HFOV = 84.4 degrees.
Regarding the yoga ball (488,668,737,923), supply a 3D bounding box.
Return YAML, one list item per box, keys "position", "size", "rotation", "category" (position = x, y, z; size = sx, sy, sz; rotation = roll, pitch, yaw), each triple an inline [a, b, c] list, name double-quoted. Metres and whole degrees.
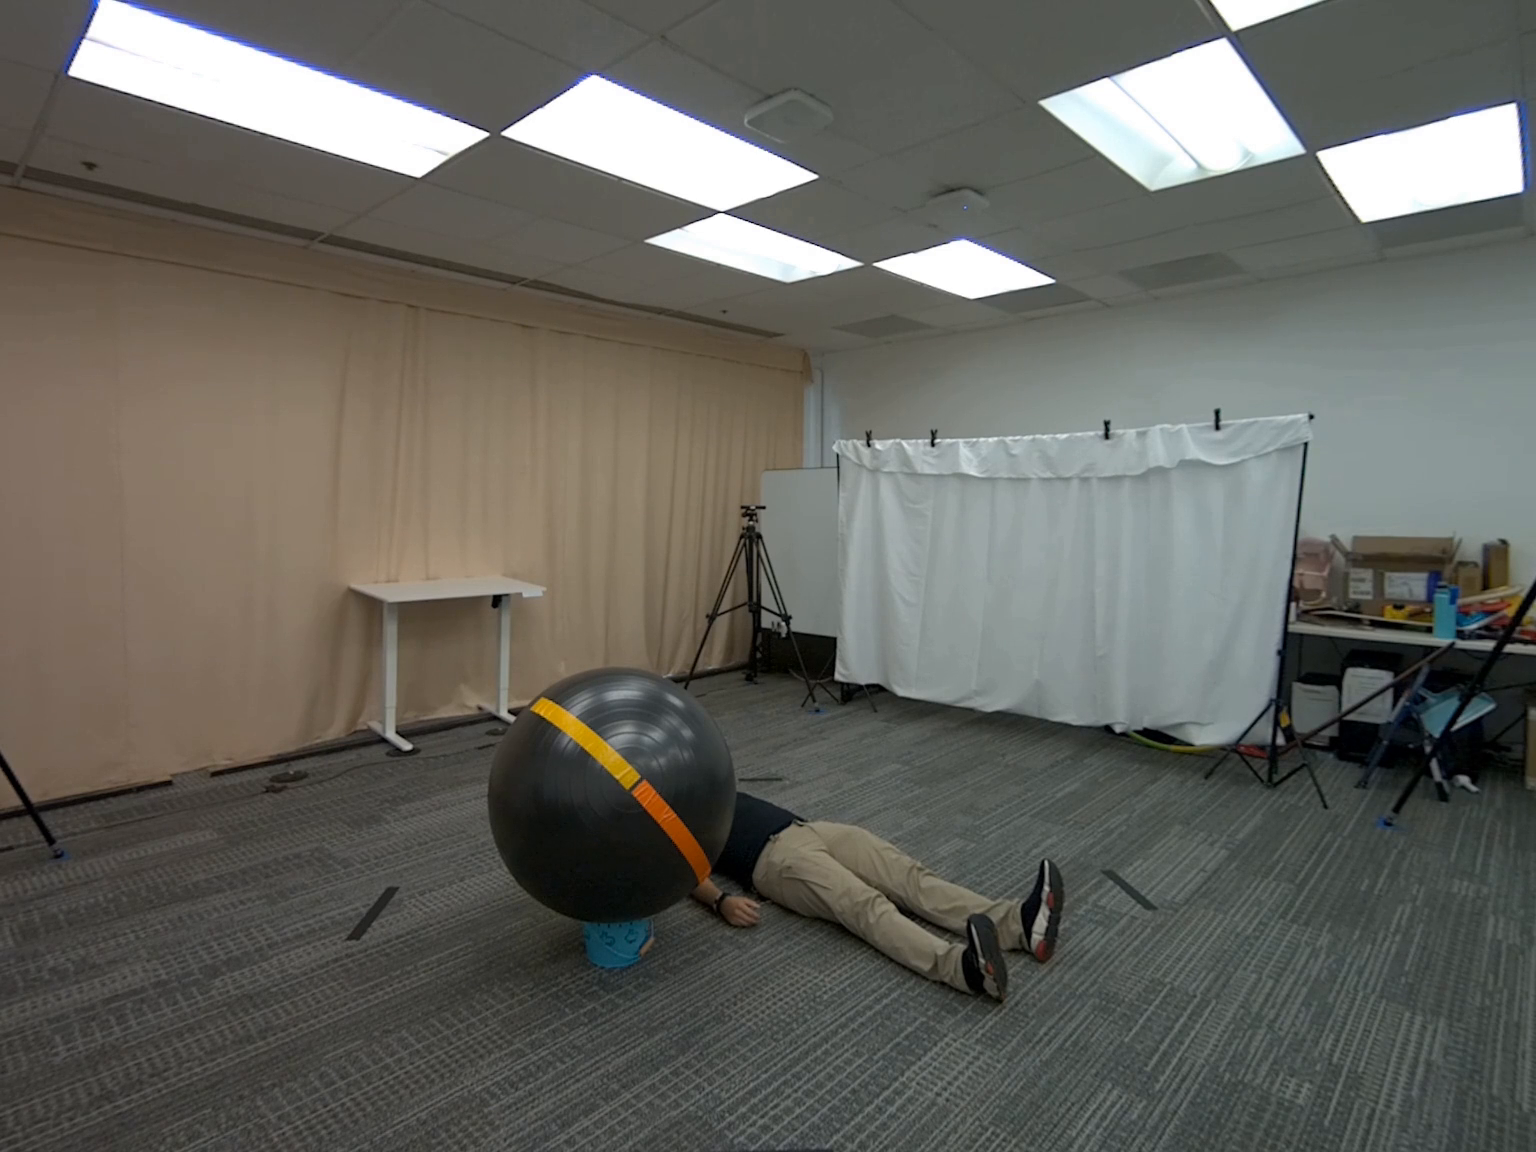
- position: [-0.475, 0.667, 2.611]
  size: [0.757, 0.756, 0.761]
  rotation: [0, 4, -2]
  category: "yoga ball"
